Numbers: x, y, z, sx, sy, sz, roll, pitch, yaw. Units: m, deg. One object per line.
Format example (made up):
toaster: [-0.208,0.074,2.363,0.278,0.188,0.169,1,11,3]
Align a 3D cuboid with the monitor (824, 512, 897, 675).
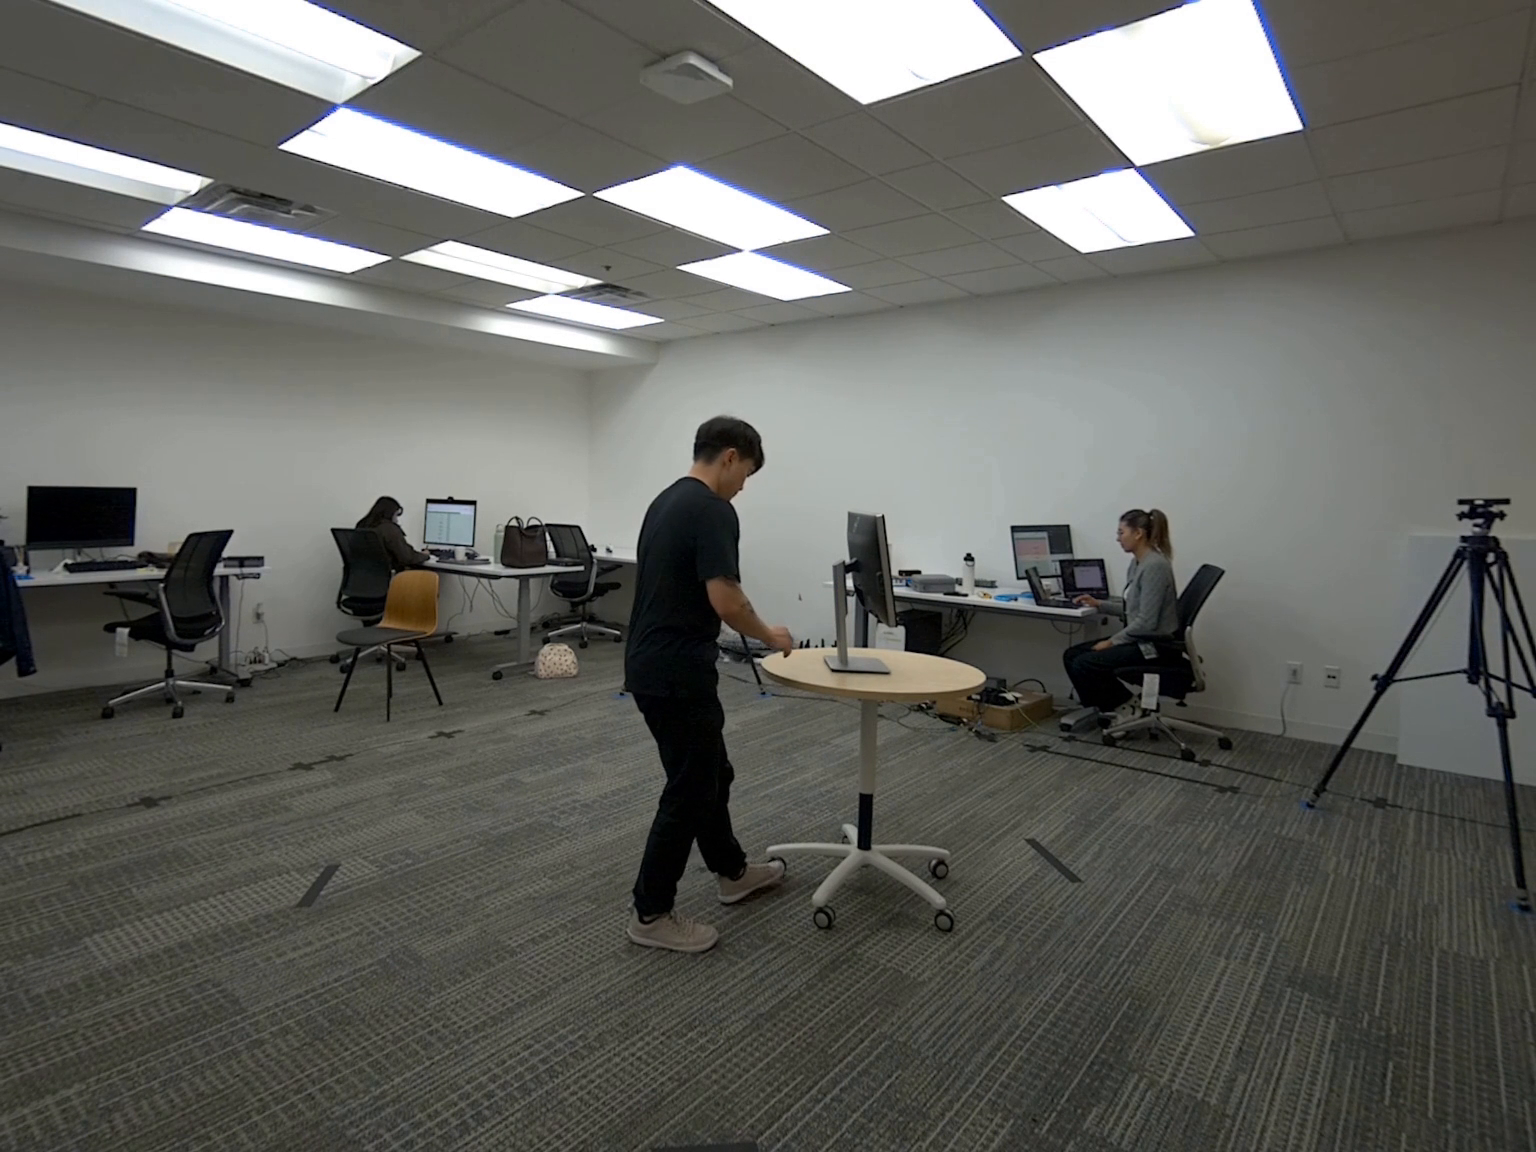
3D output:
monitor: [0.305,0.053,2.962,0.186,0.521,0.544,3,4,-6]
